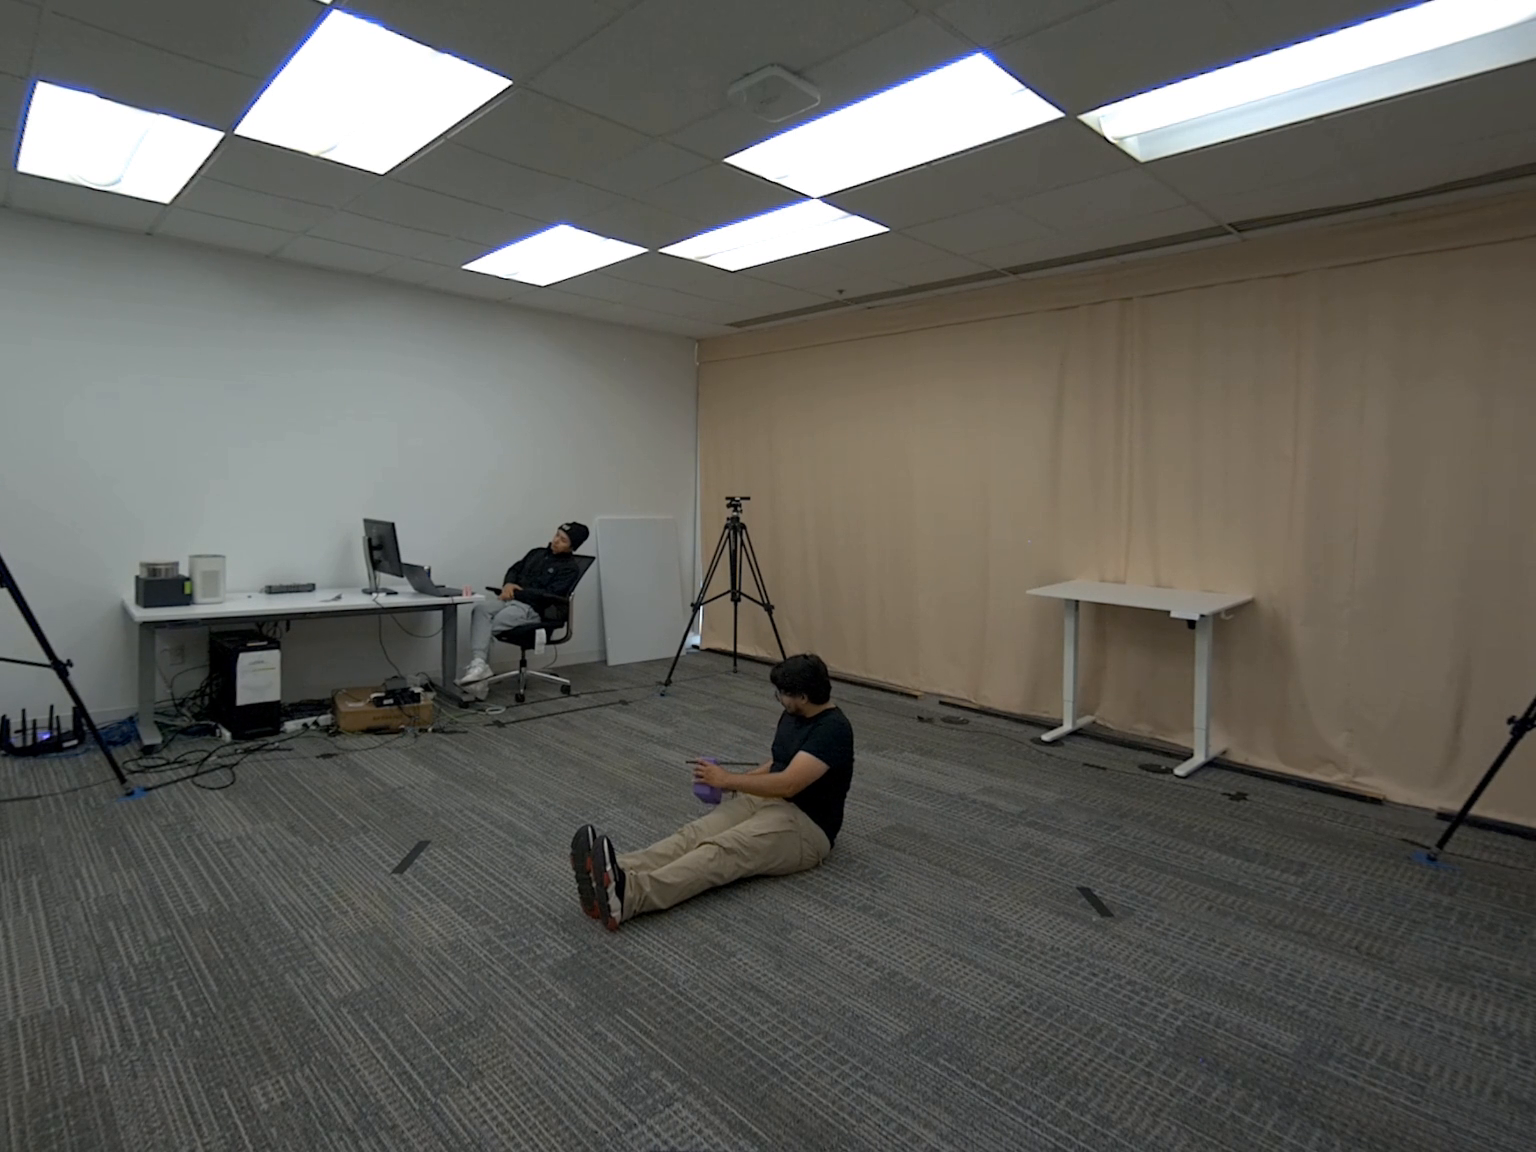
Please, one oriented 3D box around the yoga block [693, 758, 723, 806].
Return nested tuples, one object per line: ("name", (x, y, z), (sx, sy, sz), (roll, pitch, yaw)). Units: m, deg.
("yoga block", (-0.237, 0.822, 3.393), (0.077, 0.151, 0.224), (3, -22, 8))
